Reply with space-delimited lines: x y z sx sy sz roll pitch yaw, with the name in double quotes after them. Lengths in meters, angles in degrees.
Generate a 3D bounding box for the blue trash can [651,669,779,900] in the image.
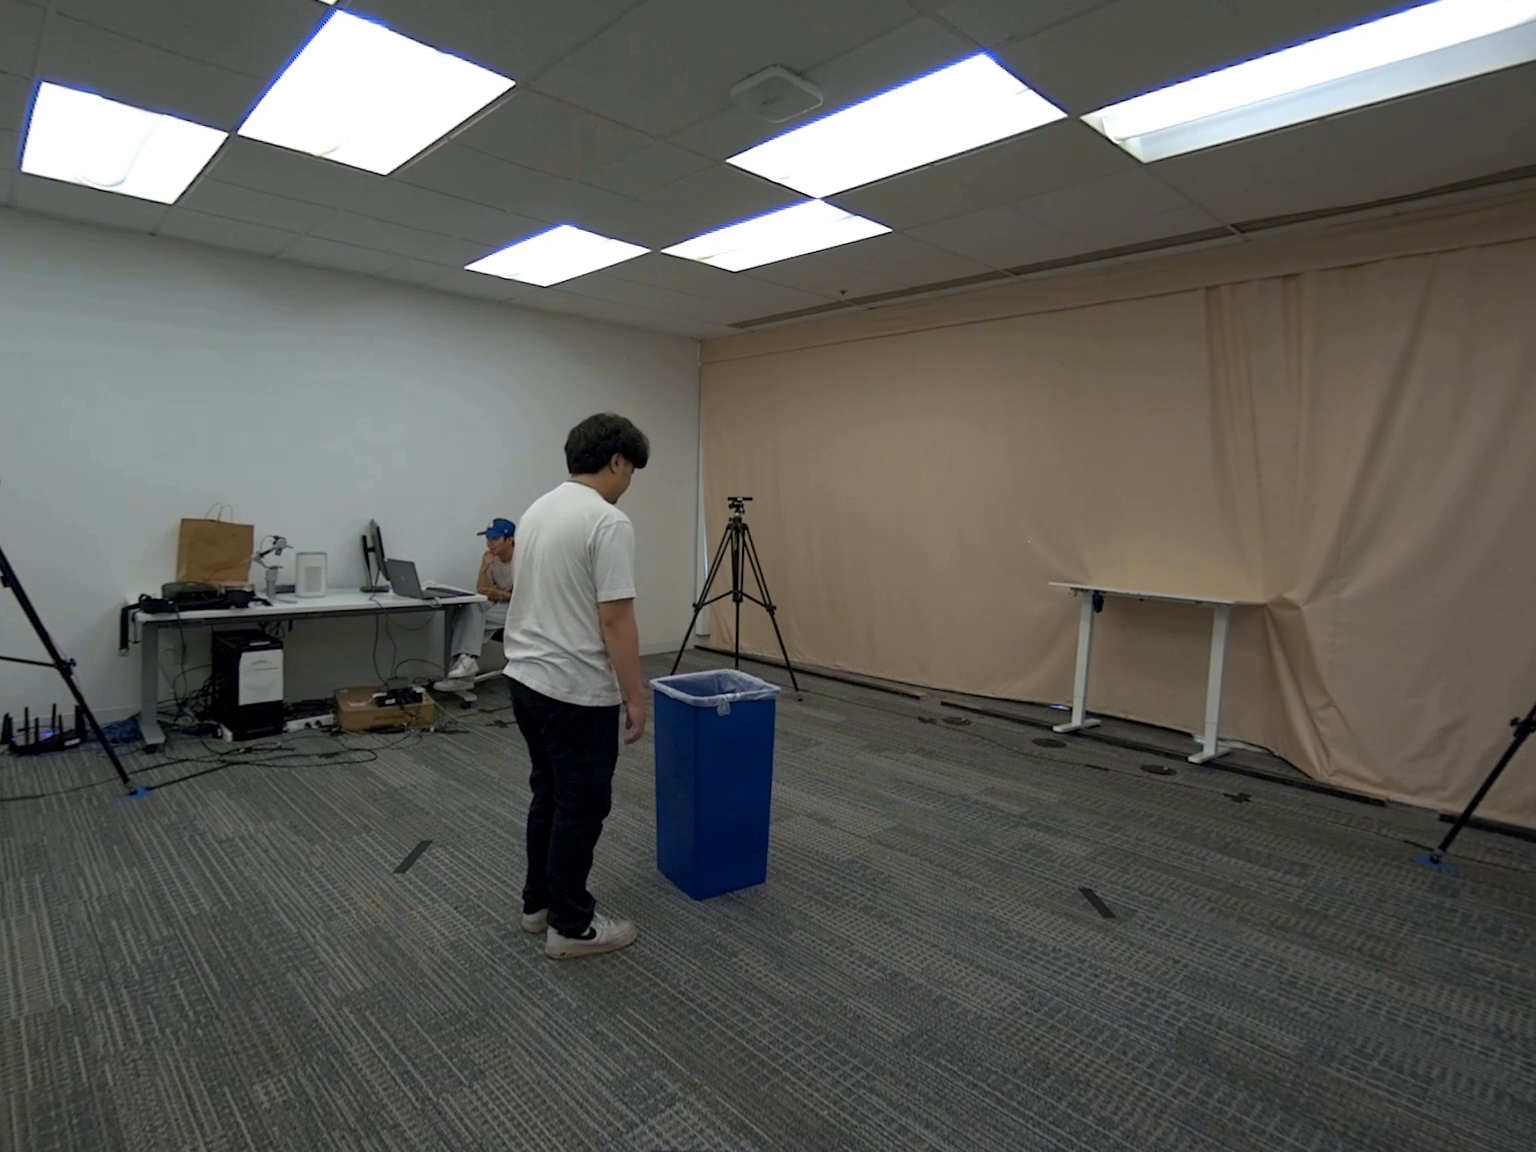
-0.215 0.748 3.096 0.370 0.712 0.383 -1 4 -34 "blue trash can"
